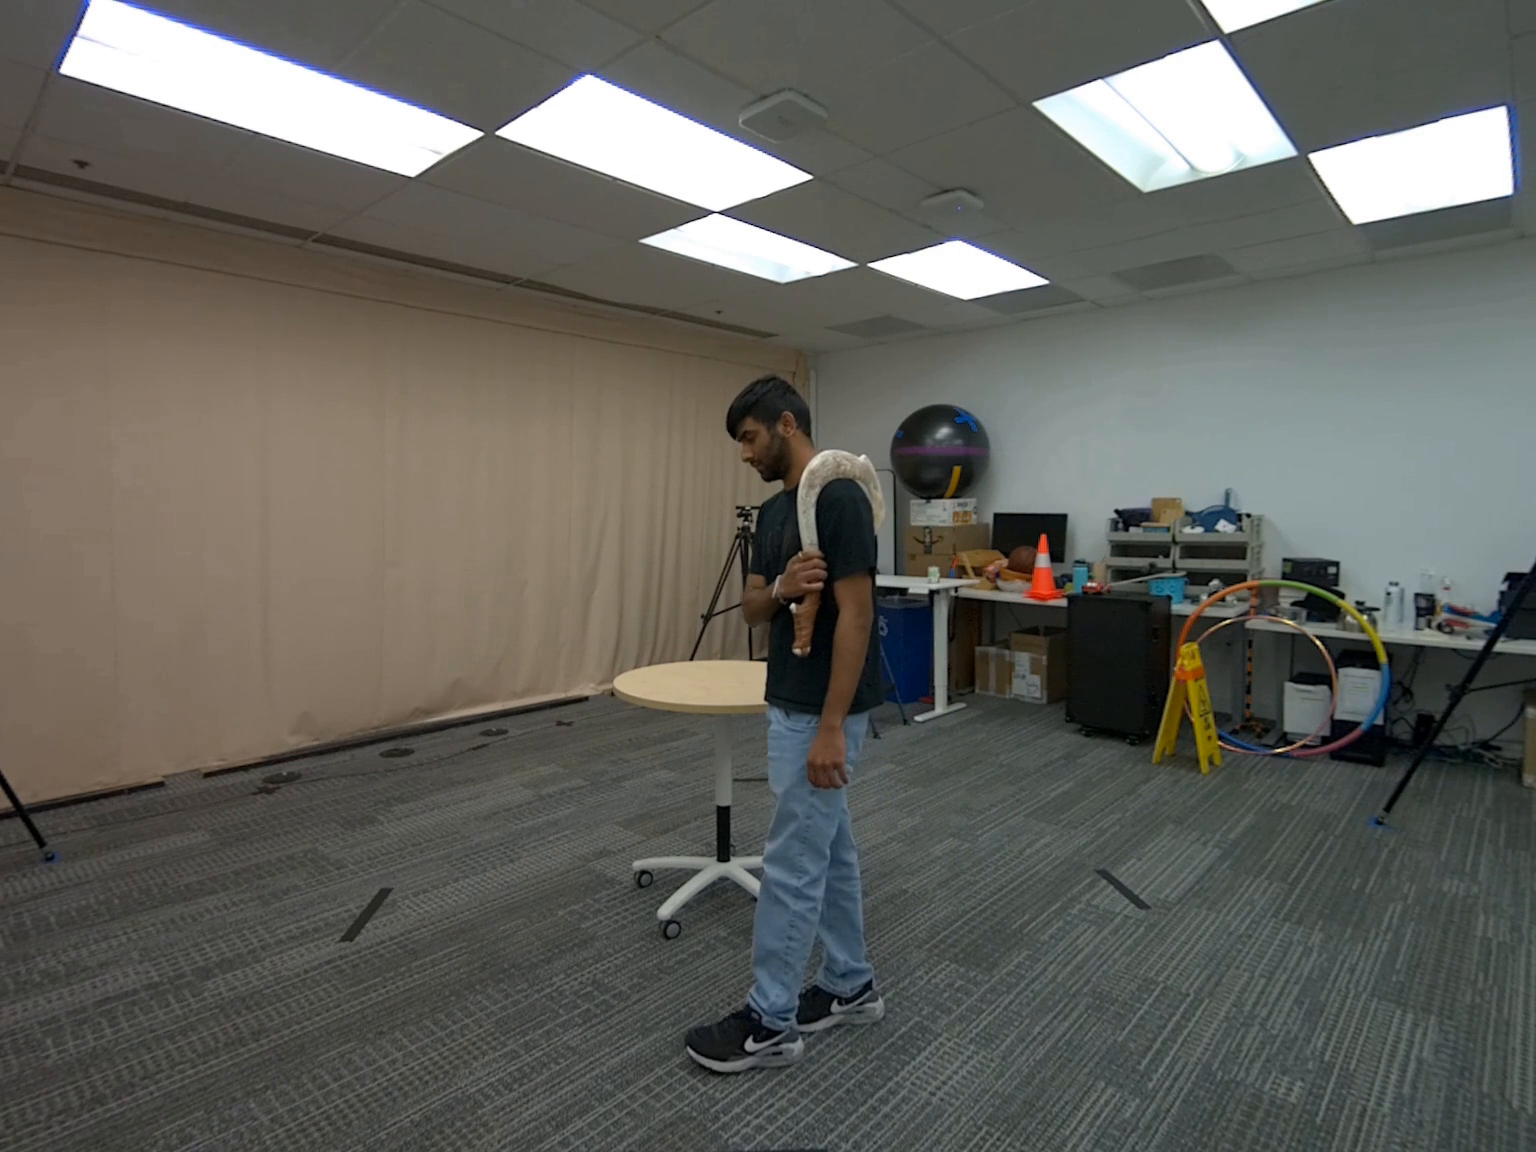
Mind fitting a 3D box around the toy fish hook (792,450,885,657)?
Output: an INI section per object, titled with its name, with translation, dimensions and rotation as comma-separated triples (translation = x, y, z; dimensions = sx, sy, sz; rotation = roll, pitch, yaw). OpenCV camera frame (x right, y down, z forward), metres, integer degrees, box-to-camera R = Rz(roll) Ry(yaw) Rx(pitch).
[toy fish hook]
translation = 0.161, -0.047, 2.042
dimensions = 0.222, 0.507, 0.049
rotation = 8, -3, -8
